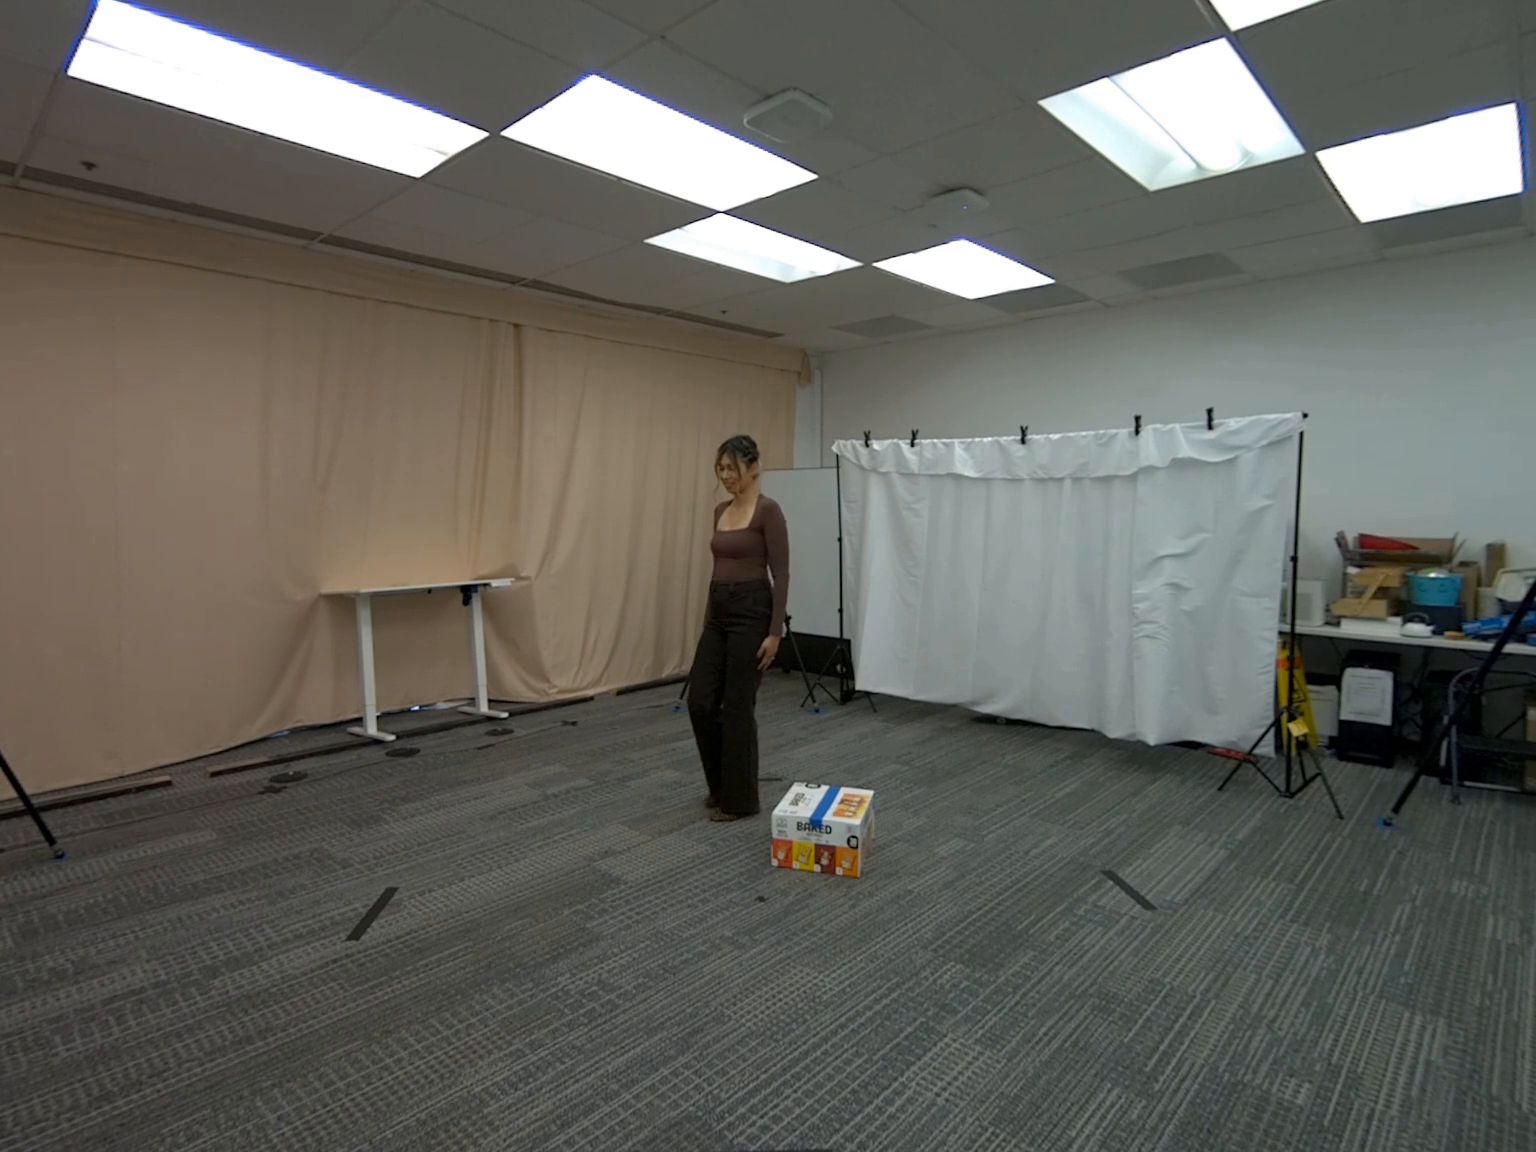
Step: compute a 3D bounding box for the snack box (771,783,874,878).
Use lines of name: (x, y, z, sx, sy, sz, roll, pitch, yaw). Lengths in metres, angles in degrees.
snack box: (0.232, 1.007, 3.382, 0.347, 0.205, 0.398, 1, 4, 17)
